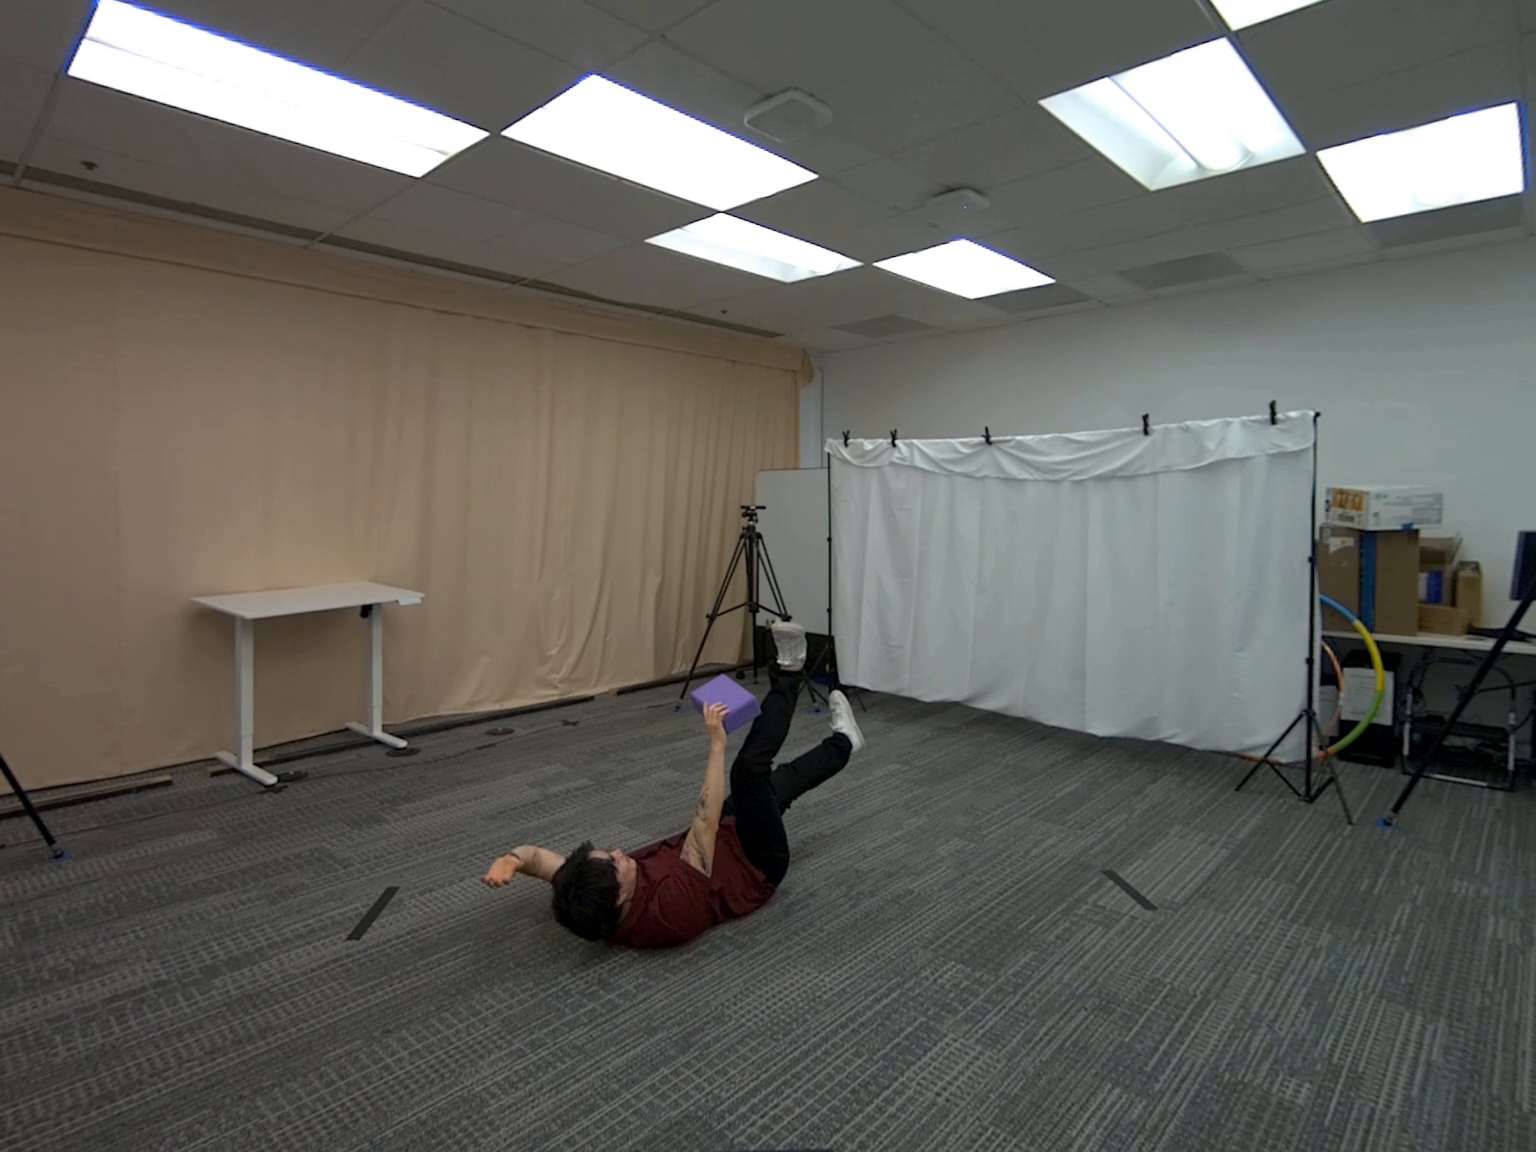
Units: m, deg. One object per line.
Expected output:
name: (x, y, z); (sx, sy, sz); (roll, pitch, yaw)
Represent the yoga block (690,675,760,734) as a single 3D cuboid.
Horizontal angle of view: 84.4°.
yoga block: (-0.146, 0.433, 2.863); (0.147, 0.075, 0.237); (-31, 30, -27)
